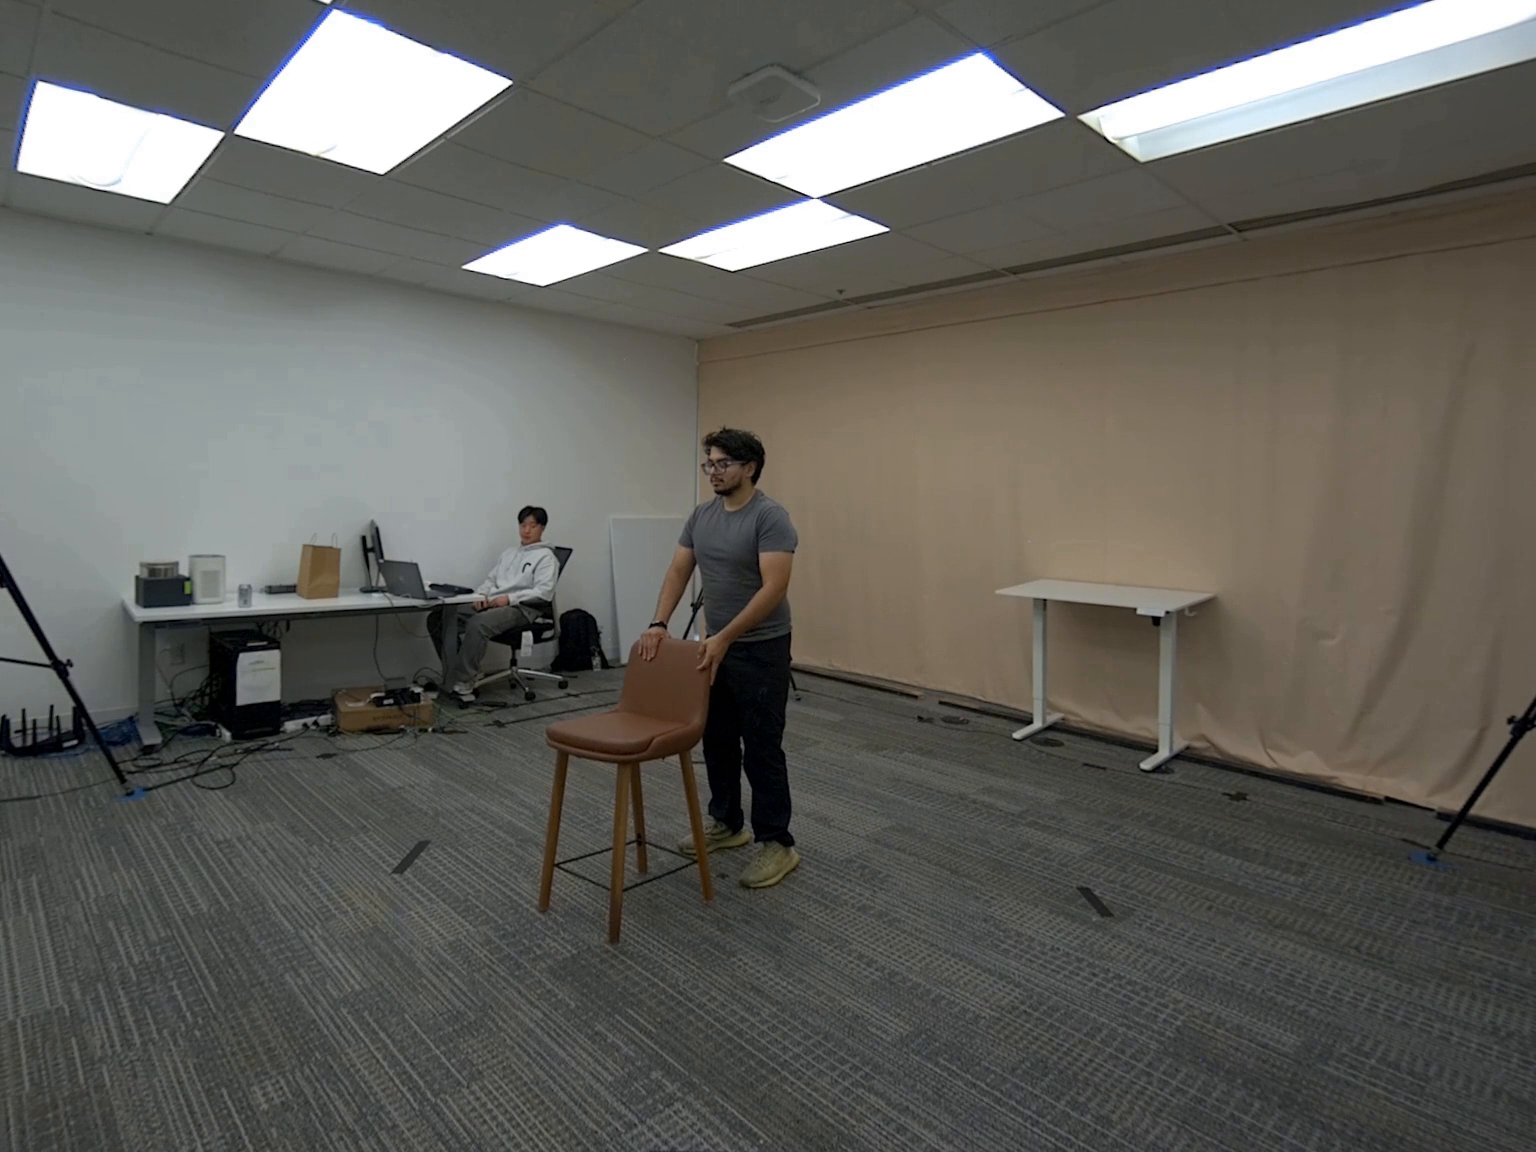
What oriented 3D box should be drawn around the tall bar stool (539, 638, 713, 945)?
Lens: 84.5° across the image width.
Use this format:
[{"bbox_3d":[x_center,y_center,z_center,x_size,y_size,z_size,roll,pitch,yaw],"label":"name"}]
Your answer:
[{"bbox_3d":[-0.468,0.671,2.845,0.467,0.891,0.456,0,-2,43],"label":"tall bar stool"}]
